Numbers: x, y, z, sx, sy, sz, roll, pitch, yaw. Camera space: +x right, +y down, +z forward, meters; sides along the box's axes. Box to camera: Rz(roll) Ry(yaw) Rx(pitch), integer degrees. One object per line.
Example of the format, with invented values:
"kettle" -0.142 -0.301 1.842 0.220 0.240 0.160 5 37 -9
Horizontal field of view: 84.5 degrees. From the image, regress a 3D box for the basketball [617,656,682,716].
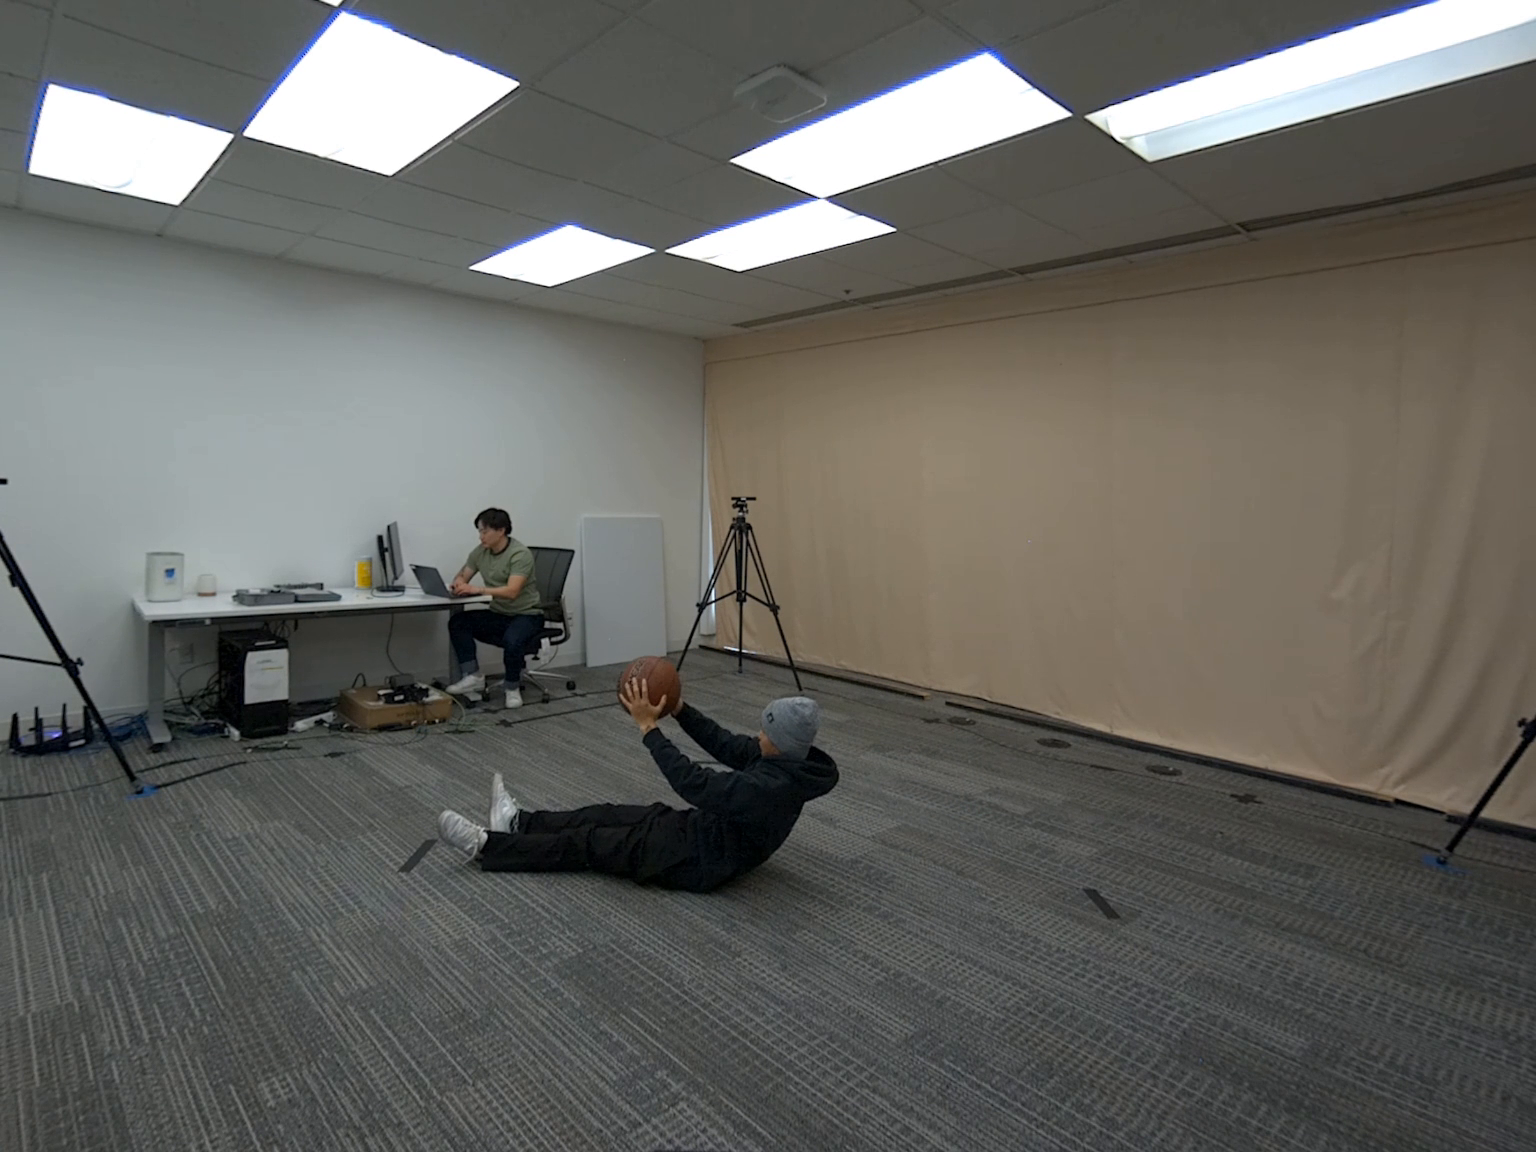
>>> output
"basketball" -0.447 0.415 3.123 0.236 0.235 0.237 1 4 -1
